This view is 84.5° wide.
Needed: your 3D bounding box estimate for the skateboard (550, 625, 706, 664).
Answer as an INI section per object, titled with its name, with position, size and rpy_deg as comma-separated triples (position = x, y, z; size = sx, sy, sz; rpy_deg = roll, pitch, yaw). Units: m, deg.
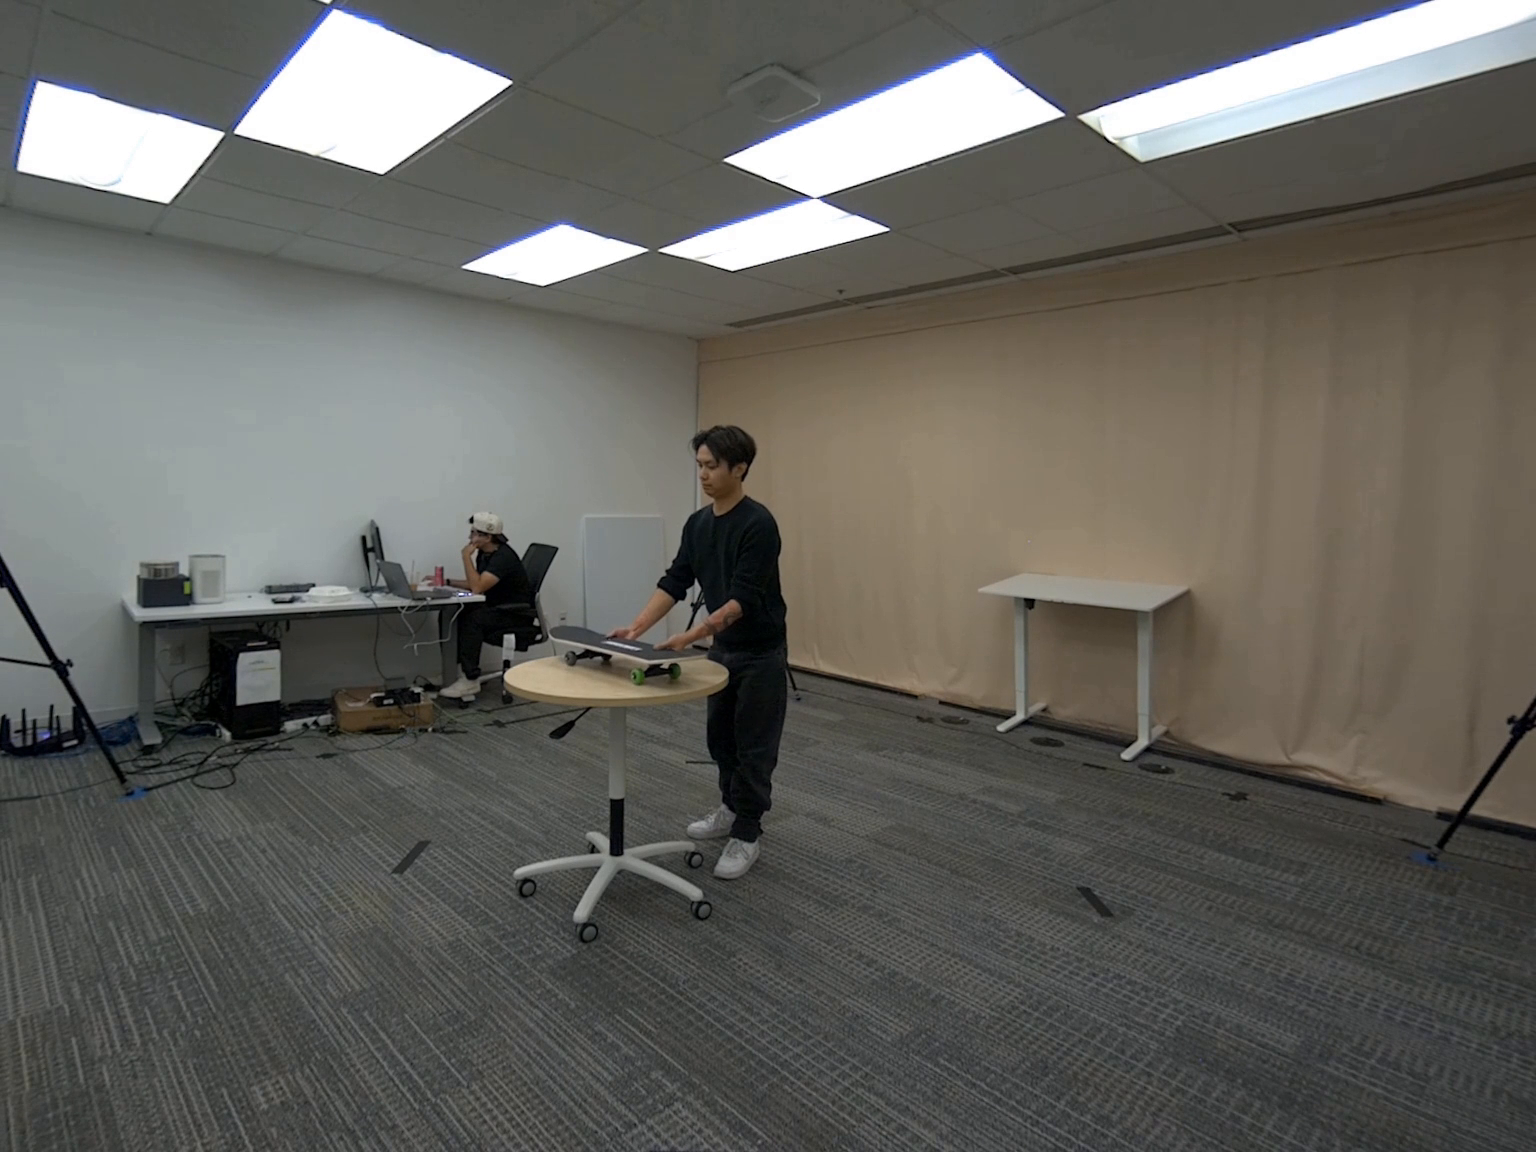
[skateboard]
position = -0.527, 0.284, 2.917
size = 0.189, 0.110, 0.805
rpy_deg = -1, 5, -44
